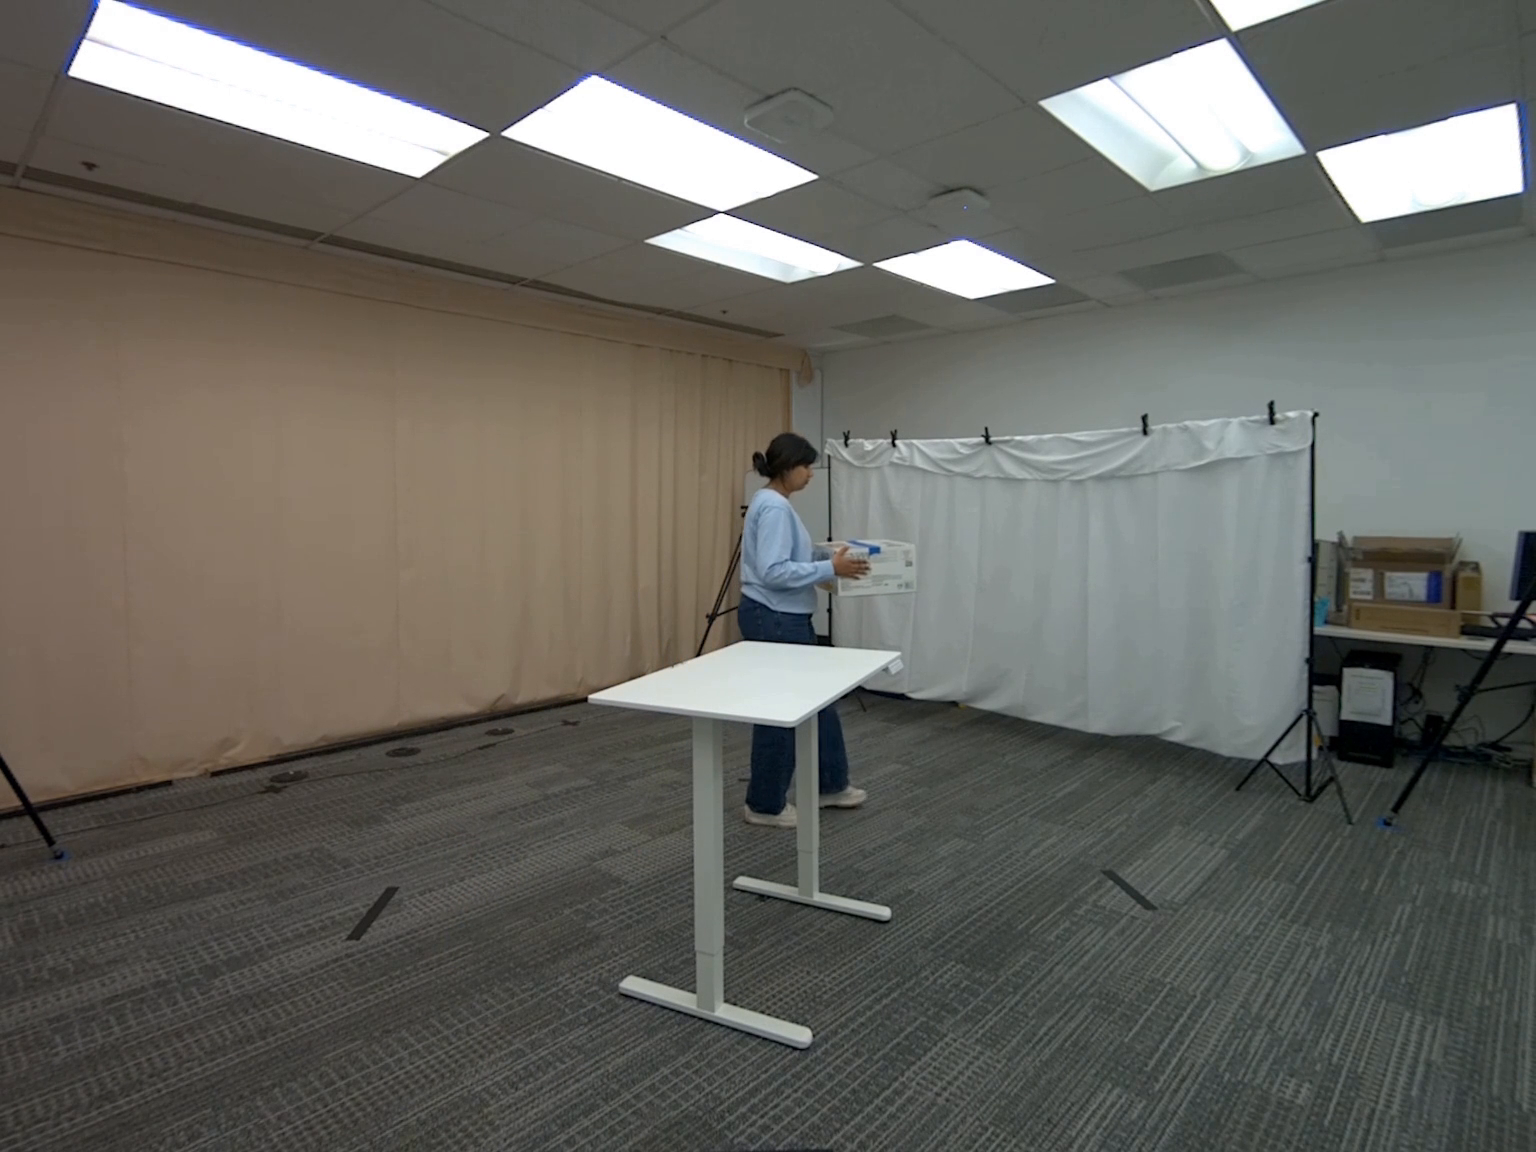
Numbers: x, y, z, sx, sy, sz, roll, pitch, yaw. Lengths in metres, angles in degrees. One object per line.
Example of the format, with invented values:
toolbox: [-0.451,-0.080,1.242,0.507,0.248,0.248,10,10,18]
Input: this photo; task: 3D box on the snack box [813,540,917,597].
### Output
snack box: [0.427,-0.041,3.714,0.338,0.205,0.409,-4,6,-7]
